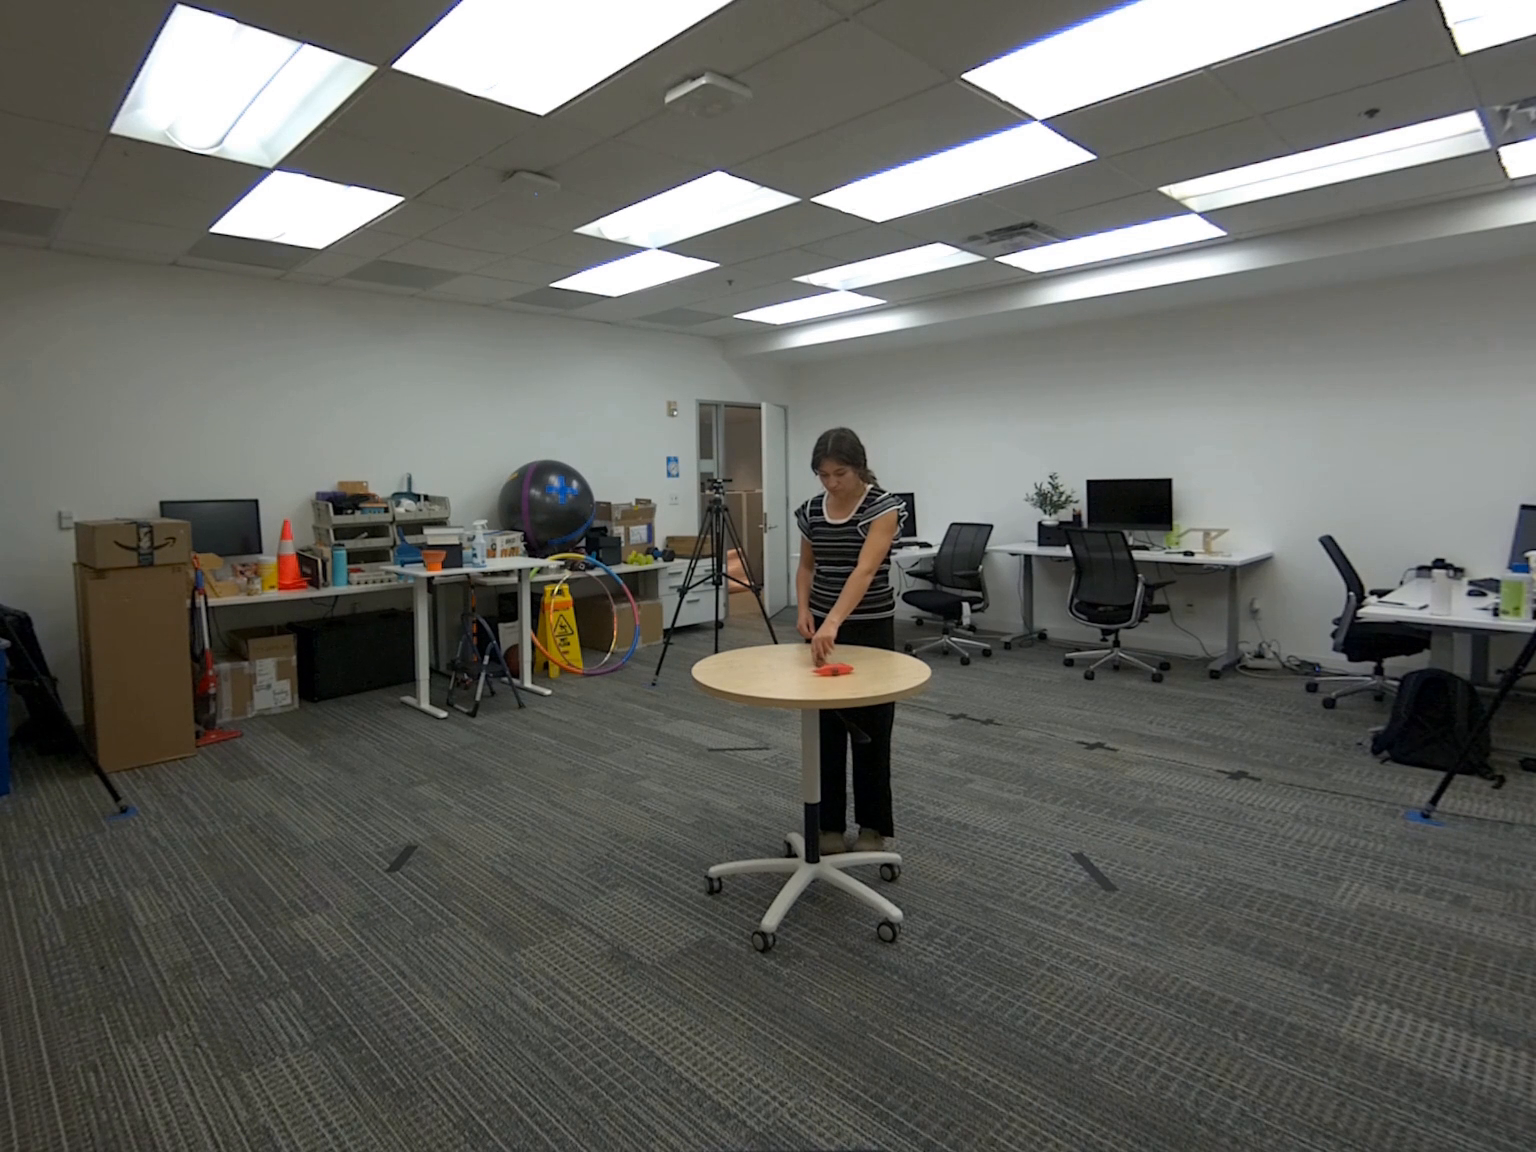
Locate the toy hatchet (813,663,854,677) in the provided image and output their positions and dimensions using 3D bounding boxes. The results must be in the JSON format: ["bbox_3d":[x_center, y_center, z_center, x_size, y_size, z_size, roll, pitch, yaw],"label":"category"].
[{"bbox_3d":[0.217,0.281,2.771,0.132,0.029,0.269,-4,6,6],"label":"toy hatchet"}]
